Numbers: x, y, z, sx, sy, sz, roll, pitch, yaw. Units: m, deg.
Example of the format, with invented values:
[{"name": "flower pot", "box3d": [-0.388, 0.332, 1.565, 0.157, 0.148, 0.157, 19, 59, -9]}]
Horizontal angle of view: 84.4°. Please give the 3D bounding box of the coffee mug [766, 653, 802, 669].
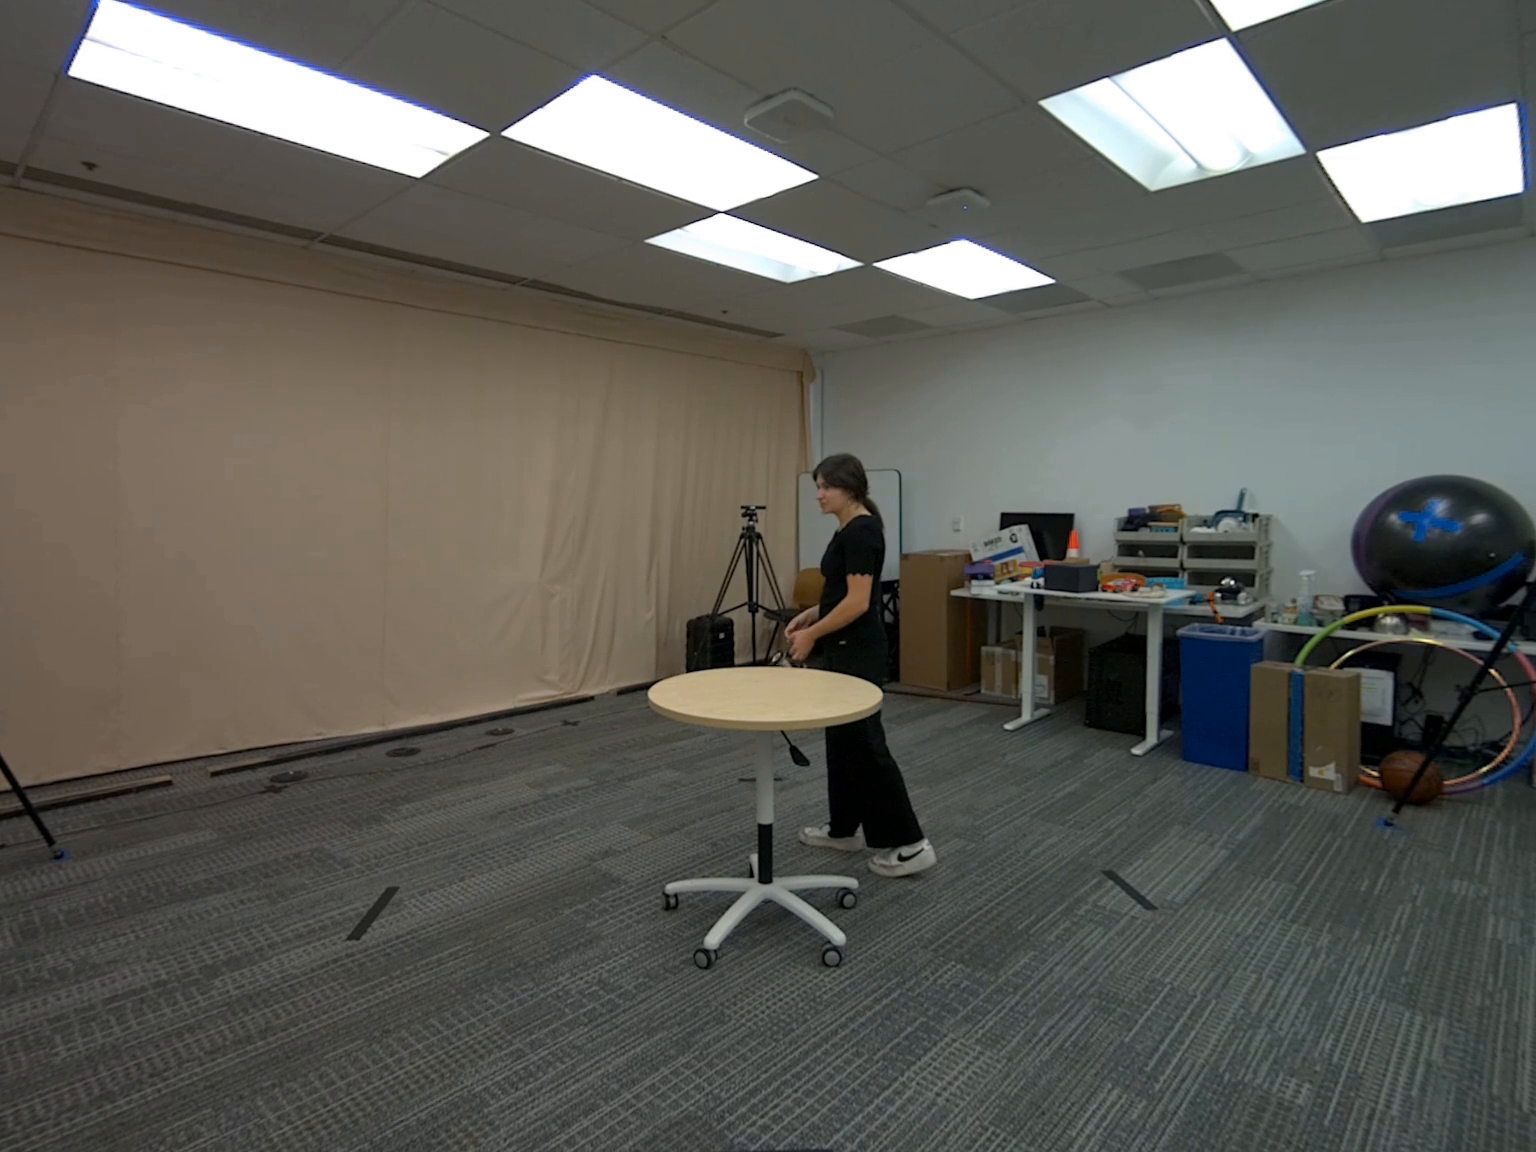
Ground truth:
[{"name": "coffee mug", "box3d": [0.124, 0.380, 3.280, 0.123, 0.201, 0.087, -40, 8, 40]}]
